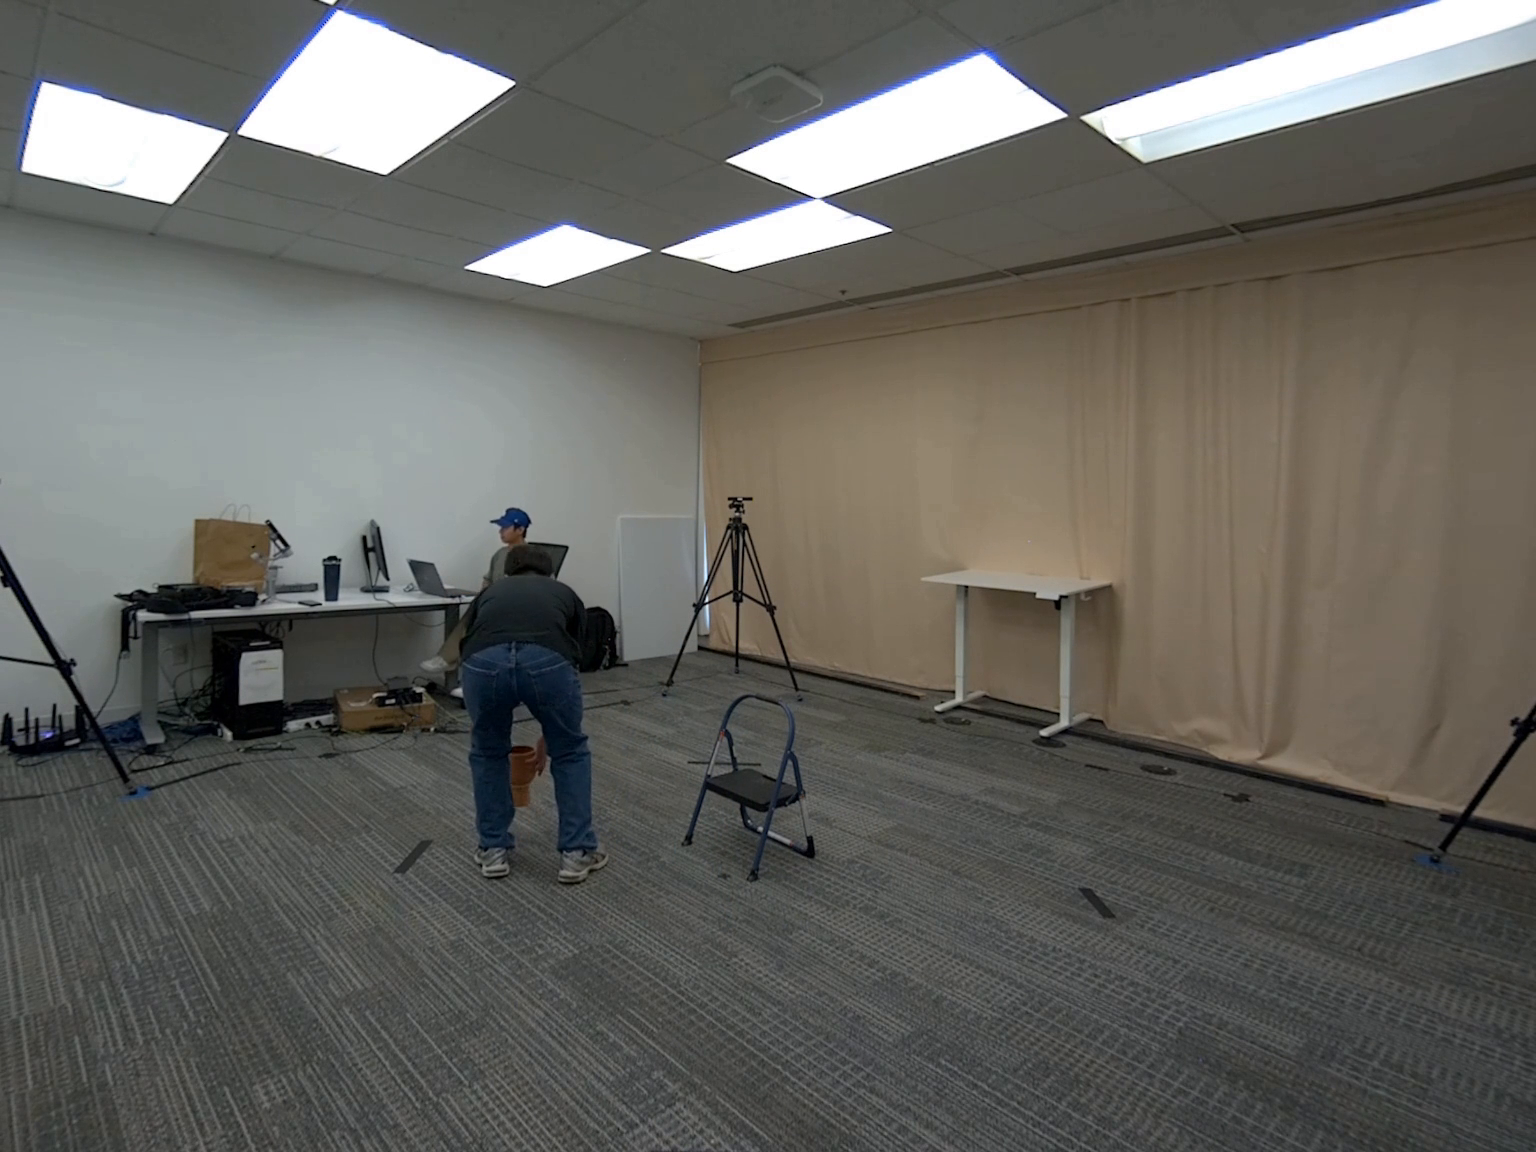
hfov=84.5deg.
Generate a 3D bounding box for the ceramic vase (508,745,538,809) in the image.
[{"bbox_3d":[-1.017,0.810,3.420,0.135,0.219,0.159,2,6,2],"label":"ceramic vase"}]
